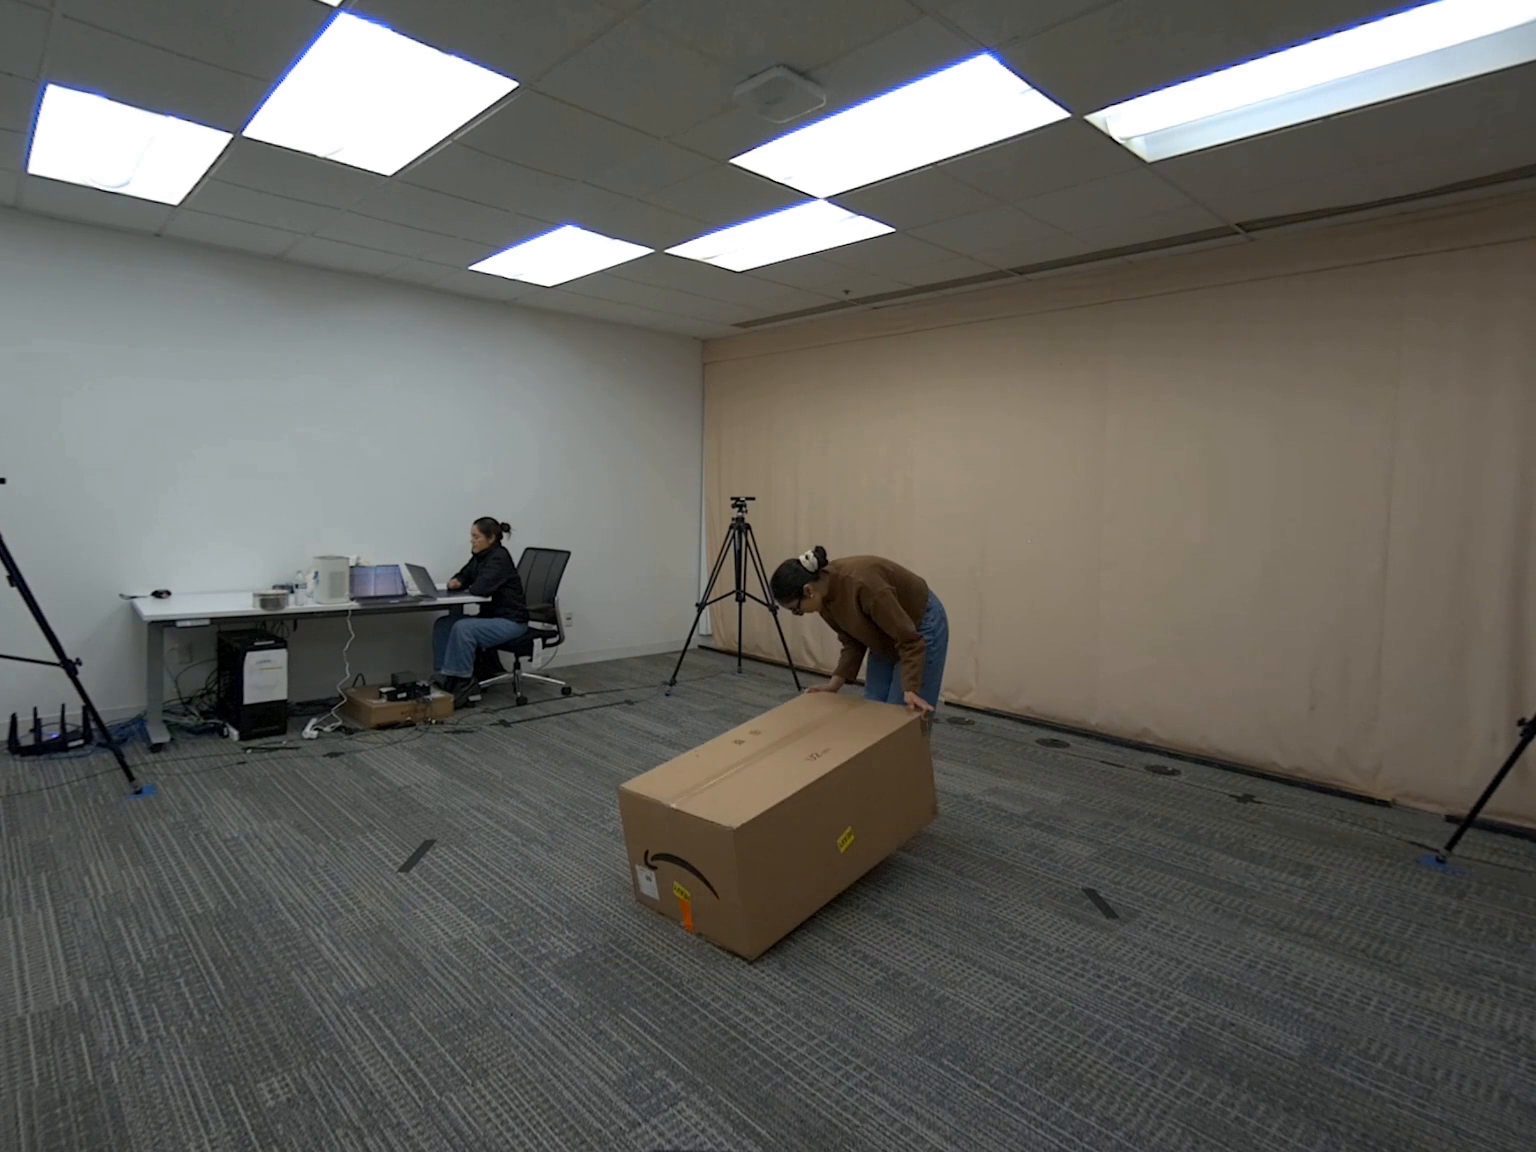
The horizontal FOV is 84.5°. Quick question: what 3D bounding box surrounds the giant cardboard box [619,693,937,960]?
[{"bbox_3d":[0.057,0.812,3.002,0.598,0.443,1.010,3,16,45],"label":"giant cardboard box"}]
